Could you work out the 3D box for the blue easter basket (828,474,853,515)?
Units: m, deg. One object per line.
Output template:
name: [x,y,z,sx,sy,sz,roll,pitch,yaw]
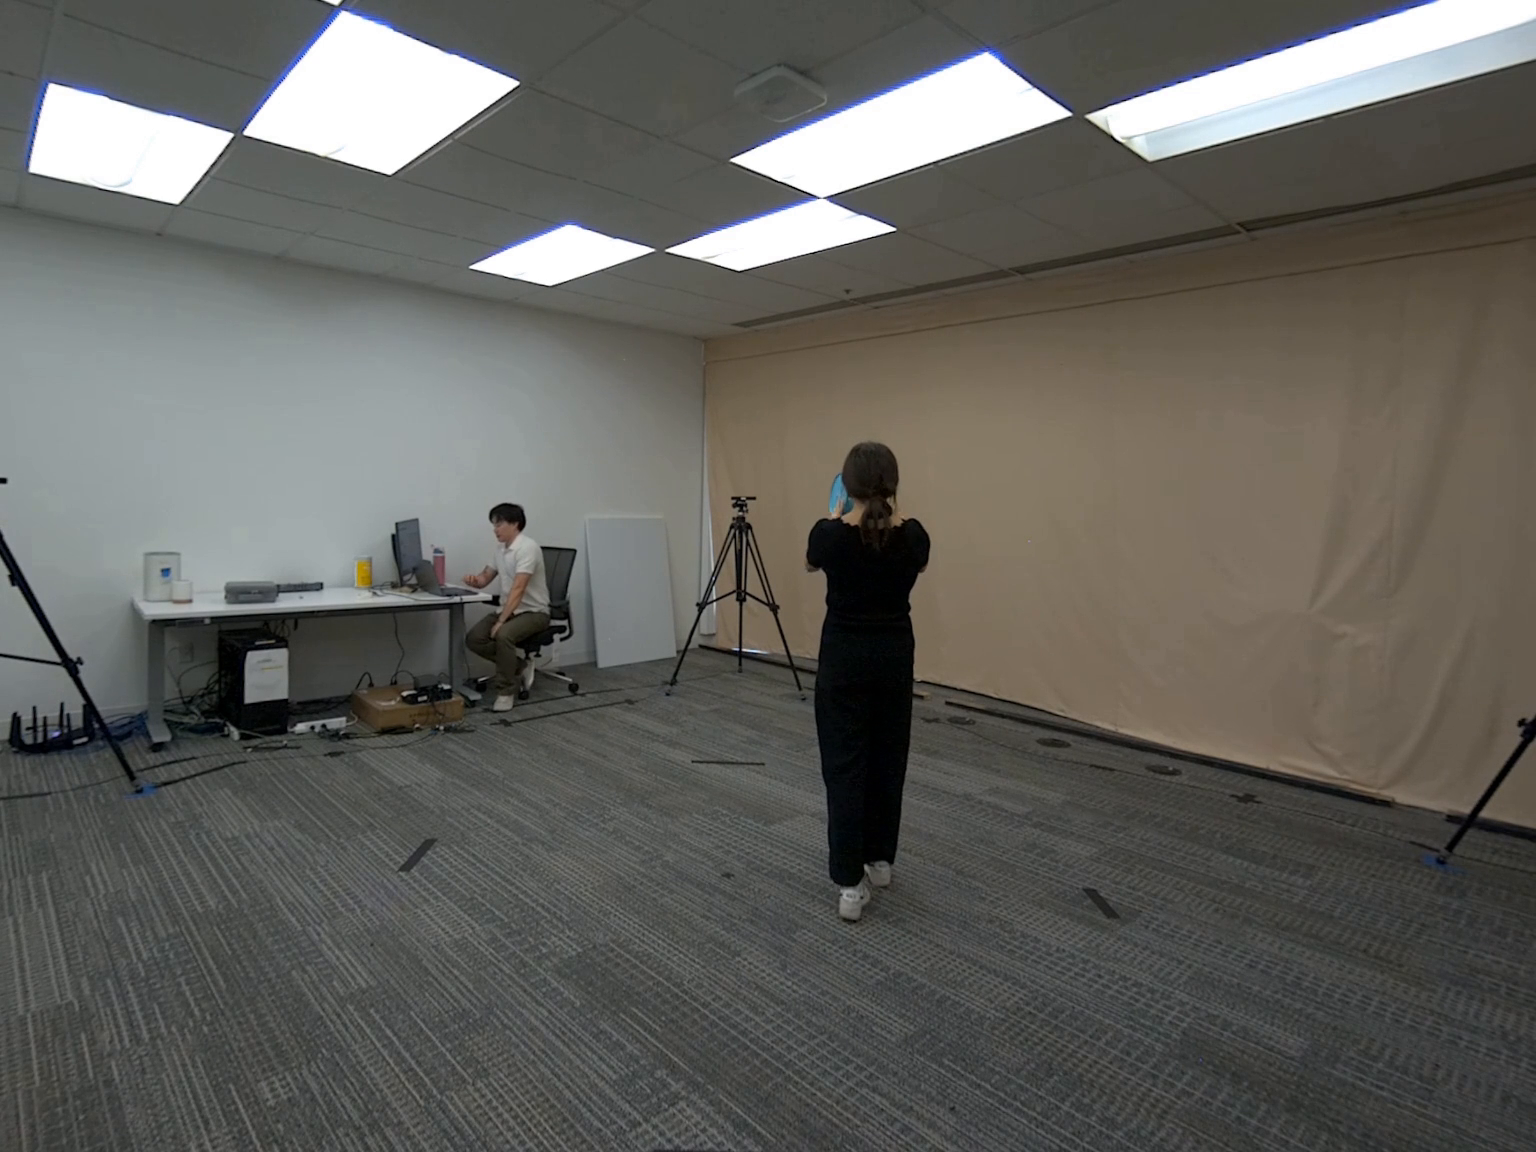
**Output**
blue easter basket: [0.367,-0.321,3.411,0.154,0.243,0.247,8,2,-17]
